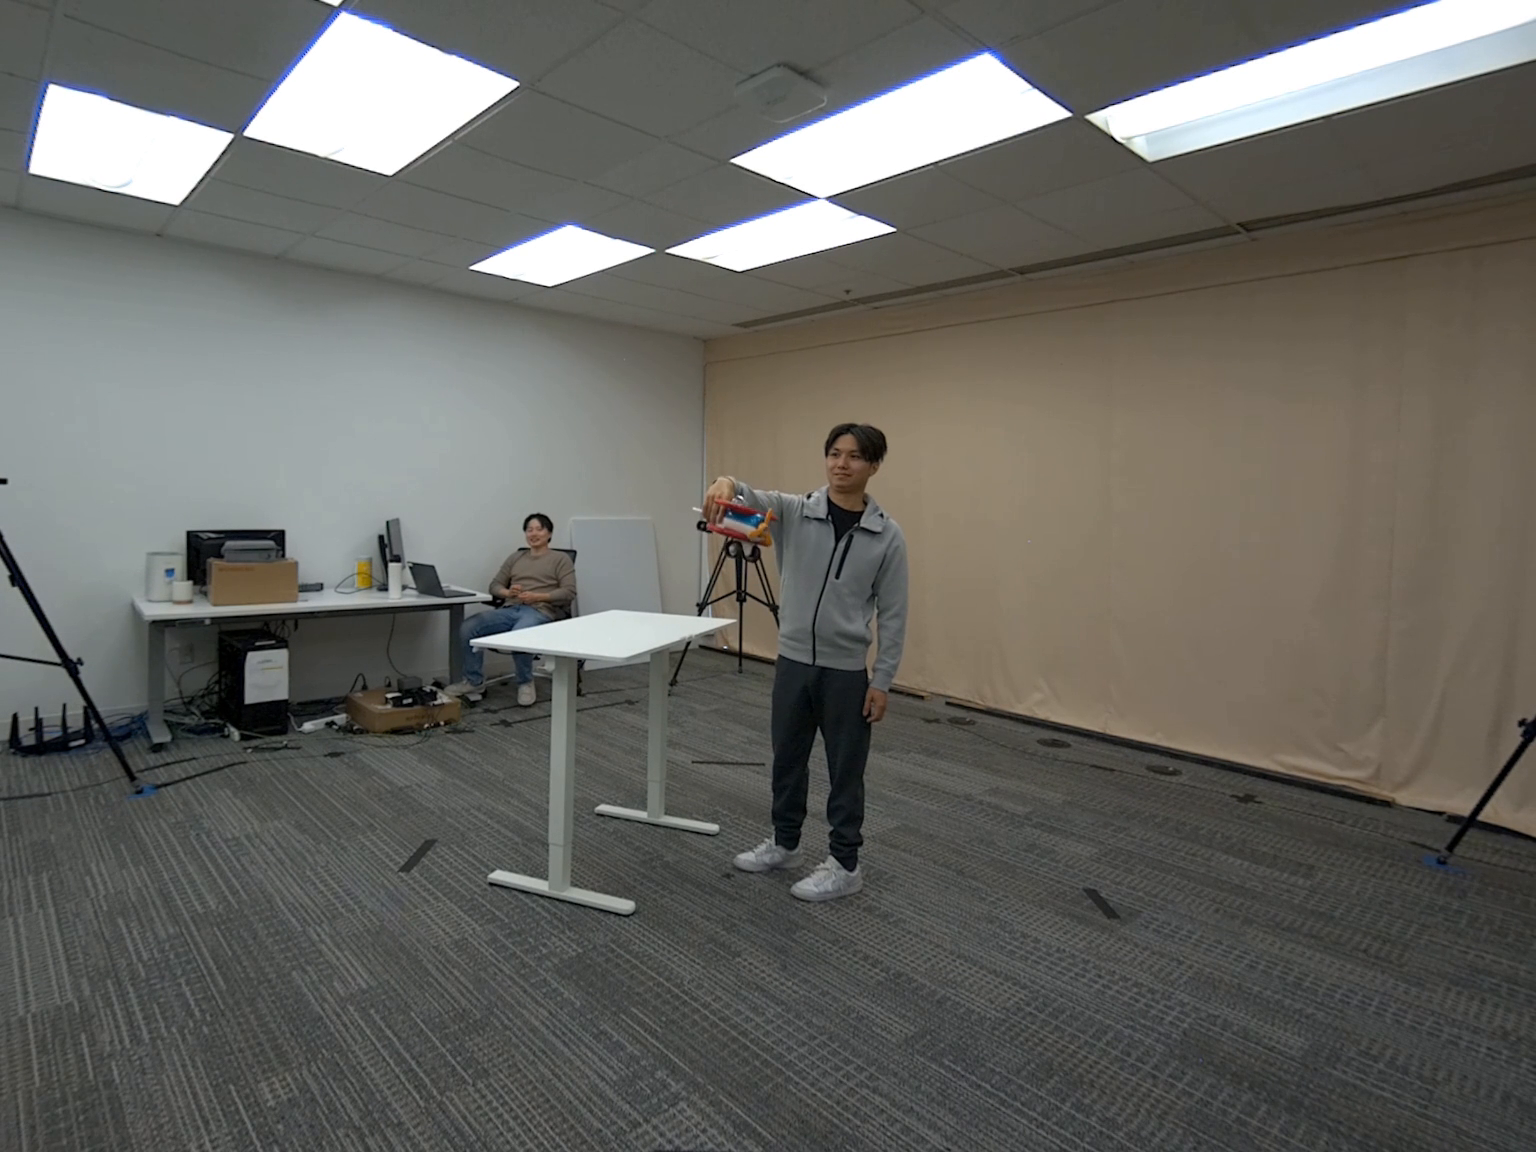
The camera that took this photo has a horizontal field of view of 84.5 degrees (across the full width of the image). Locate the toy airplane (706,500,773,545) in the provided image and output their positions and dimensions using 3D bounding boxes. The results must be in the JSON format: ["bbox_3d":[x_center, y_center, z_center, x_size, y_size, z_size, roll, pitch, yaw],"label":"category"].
[{"bbox_3d":[-0.128,-0.160,2.516,0.262,0.156,0.249,30,12,9],"label":"toy airplane"}]
